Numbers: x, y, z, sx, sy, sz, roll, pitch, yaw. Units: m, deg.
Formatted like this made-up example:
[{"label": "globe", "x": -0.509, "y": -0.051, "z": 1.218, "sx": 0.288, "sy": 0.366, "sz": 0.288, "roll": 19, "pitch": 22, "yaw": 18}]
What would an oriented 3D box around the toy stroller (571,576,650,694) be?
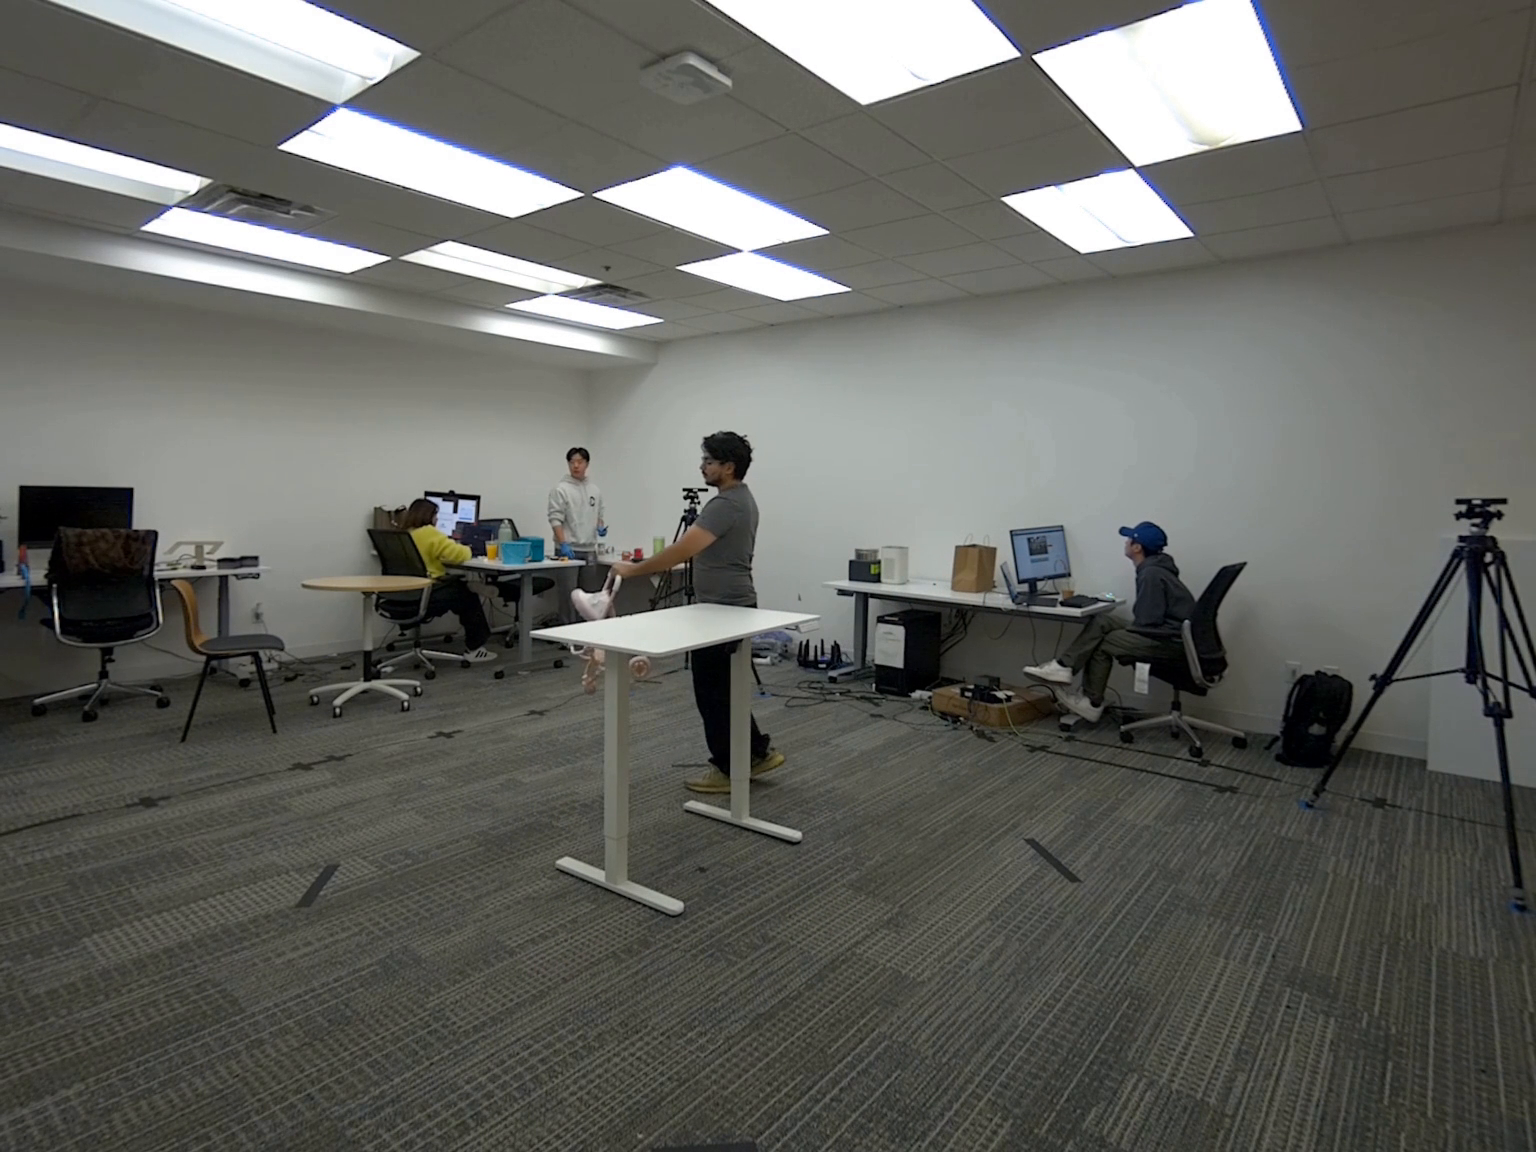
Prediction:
[{"label": "toy stroller", "x": -0.767, "y": 0.261, "z": 3.847, "sx": 0.340, "sy": 0.522, "sz": 0.289, "roll": -16, "pitch": 22, "yaw": -6}]
